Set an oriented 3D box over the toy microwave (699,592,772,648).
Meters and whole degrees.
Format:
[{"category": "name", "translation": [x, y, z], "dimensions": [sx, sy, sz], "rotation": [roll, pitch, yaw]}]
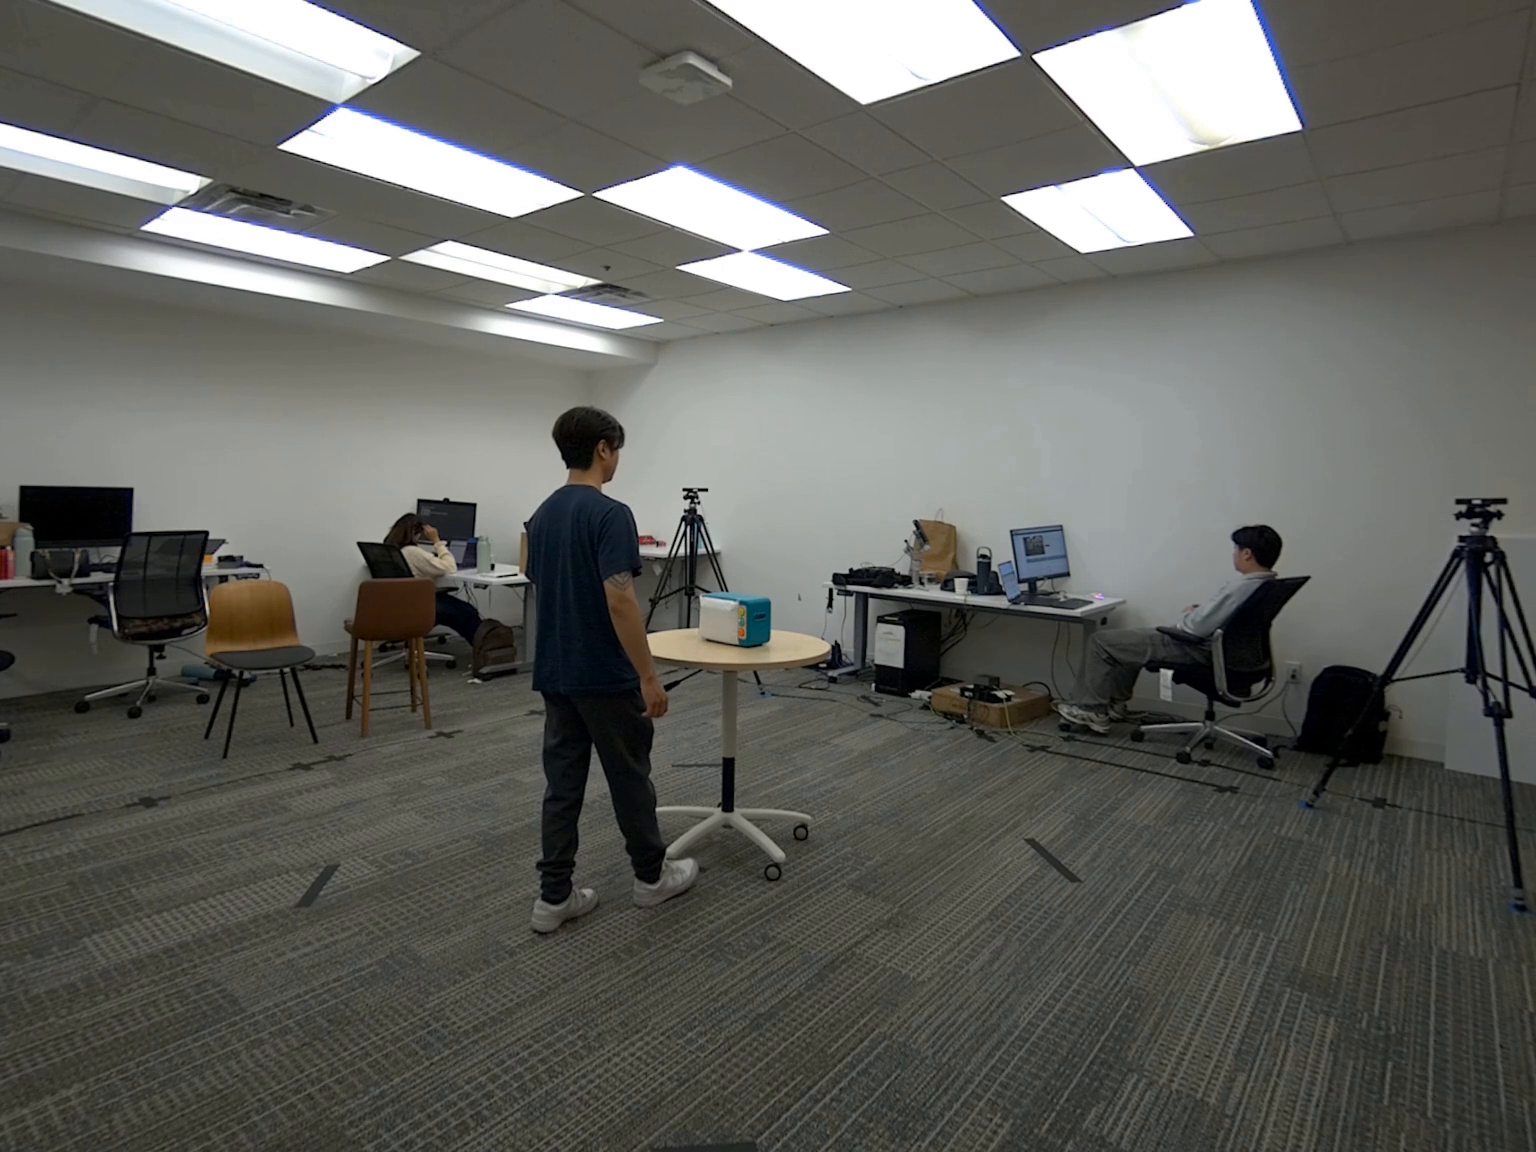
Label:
[{"category": "toy microwave", "translation": [-0.151, 0.164, 3.298], "dimensions": [0.296, 0.183, 0.148], "rotation": [6, 6, 44]}]
